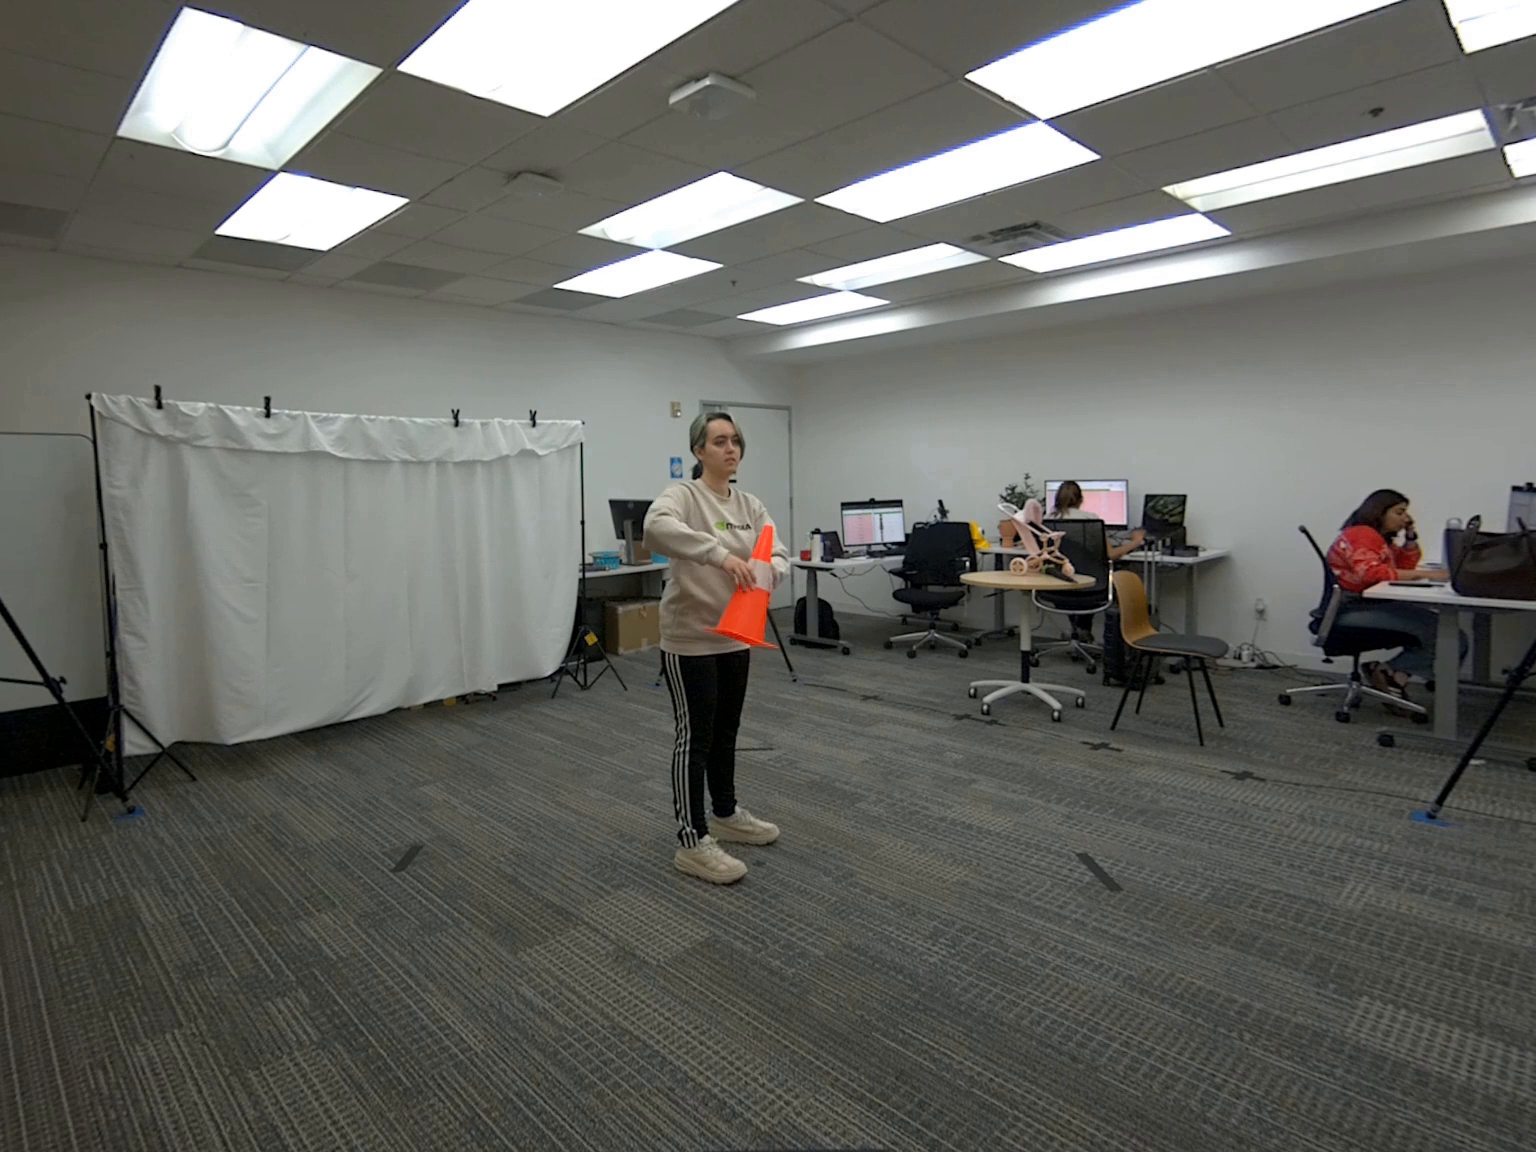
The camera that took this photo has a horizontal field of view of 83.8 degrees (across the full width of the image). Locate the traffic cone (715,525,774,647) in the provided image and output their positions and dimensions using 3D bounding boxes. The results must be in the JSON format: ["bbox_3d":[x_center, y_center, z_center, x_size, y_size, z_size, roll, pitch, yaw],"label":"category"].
[{"bbox_3d":[-0.050,0.012,2.773,0.201,0.387,0.206,14,-11,-17],"label":"traffic cone"}]
